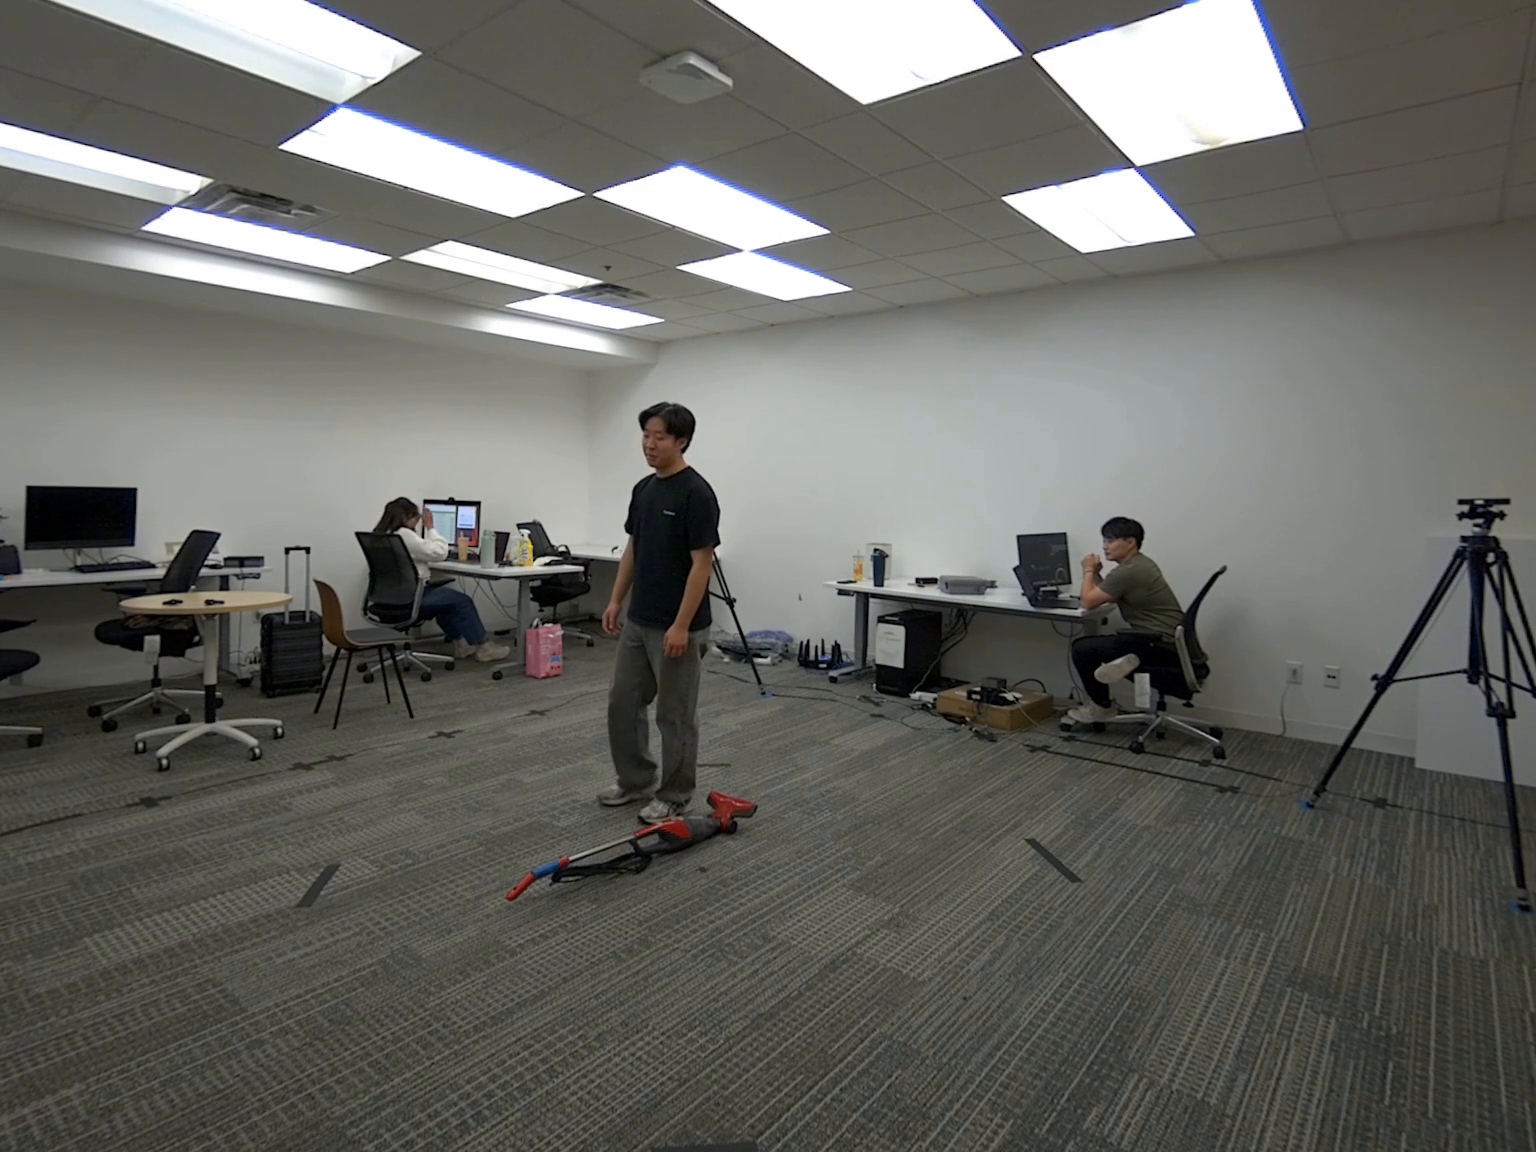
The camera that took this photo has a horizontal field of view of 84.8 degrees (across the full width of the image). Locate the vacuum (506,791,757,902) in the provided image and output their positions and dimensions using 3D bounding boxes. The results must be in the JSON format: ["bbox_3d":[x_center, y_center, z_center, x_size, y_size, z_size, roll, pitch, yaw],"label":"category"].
[{"bbox_3d":[-0.504,1.005,3.124,0.261,0.143,1.018,3,5,42],"label":"vacuum"}]
